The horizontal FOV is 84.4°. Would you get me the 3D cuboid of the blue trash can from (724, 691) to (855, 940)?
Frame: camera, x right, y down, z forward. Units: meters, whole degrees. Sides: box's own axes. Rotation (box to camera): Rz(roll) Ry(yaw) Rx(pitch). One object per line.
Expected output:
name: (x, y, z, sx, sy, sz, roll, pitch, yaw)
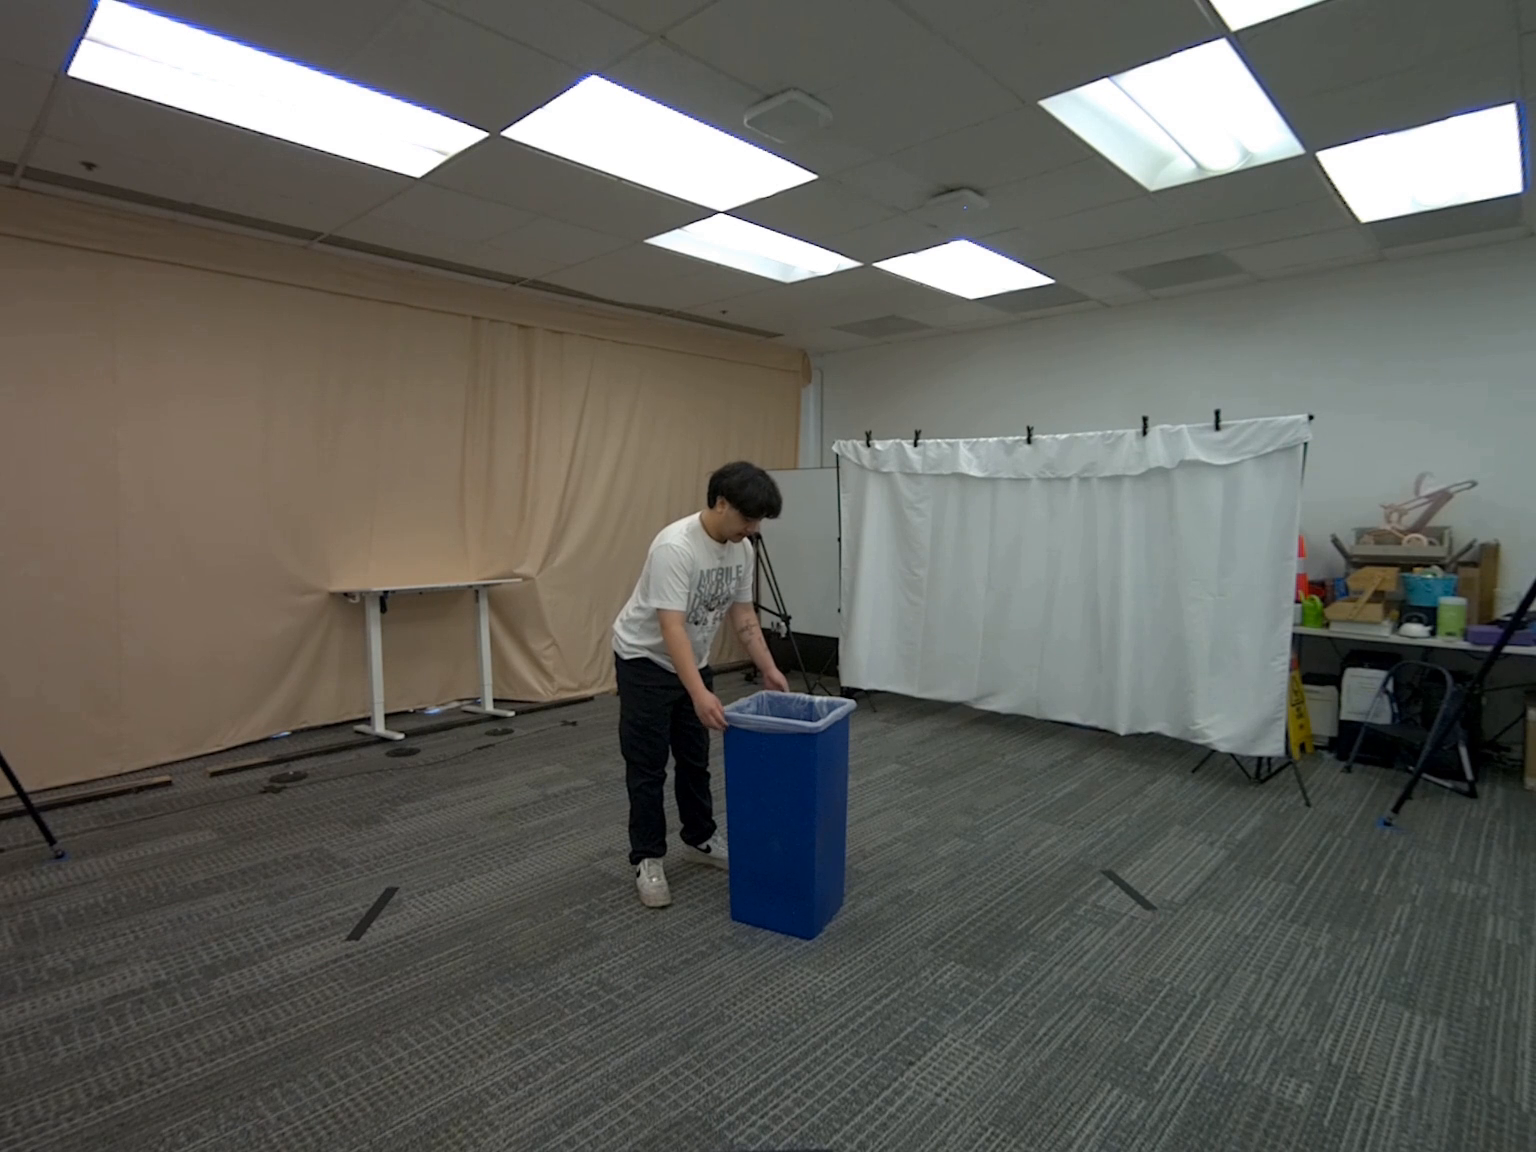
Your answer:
blue trash can: (0.072, 0.794, 2.864, 0.388, 0.712, 0.365, 1, 3, 26)
